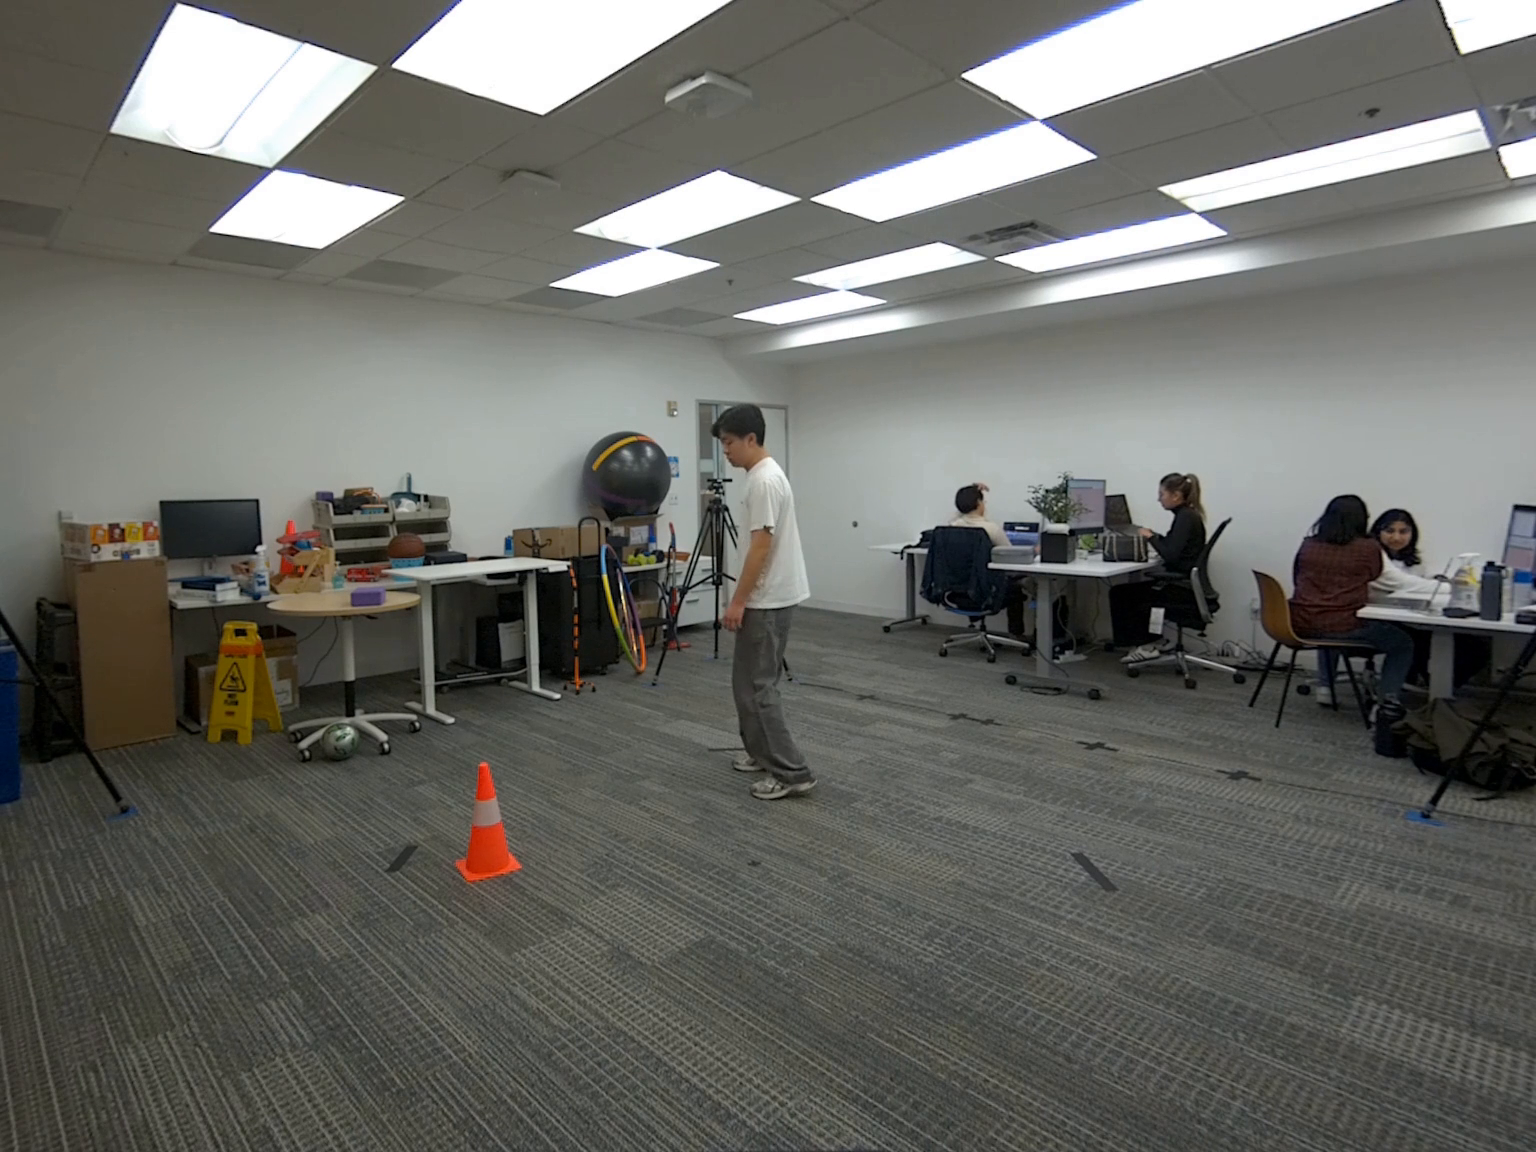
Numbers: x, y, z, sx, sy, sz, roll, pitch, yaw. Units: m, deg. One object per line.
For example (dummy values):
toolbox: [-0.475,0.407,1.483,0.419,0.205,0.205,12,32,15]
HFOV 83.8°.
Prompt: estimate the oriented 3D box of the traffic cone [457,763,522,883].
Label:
traffic cone: [-1.040,0.880,3.126,0.200,0.382,0.209,-6,6,-37]
